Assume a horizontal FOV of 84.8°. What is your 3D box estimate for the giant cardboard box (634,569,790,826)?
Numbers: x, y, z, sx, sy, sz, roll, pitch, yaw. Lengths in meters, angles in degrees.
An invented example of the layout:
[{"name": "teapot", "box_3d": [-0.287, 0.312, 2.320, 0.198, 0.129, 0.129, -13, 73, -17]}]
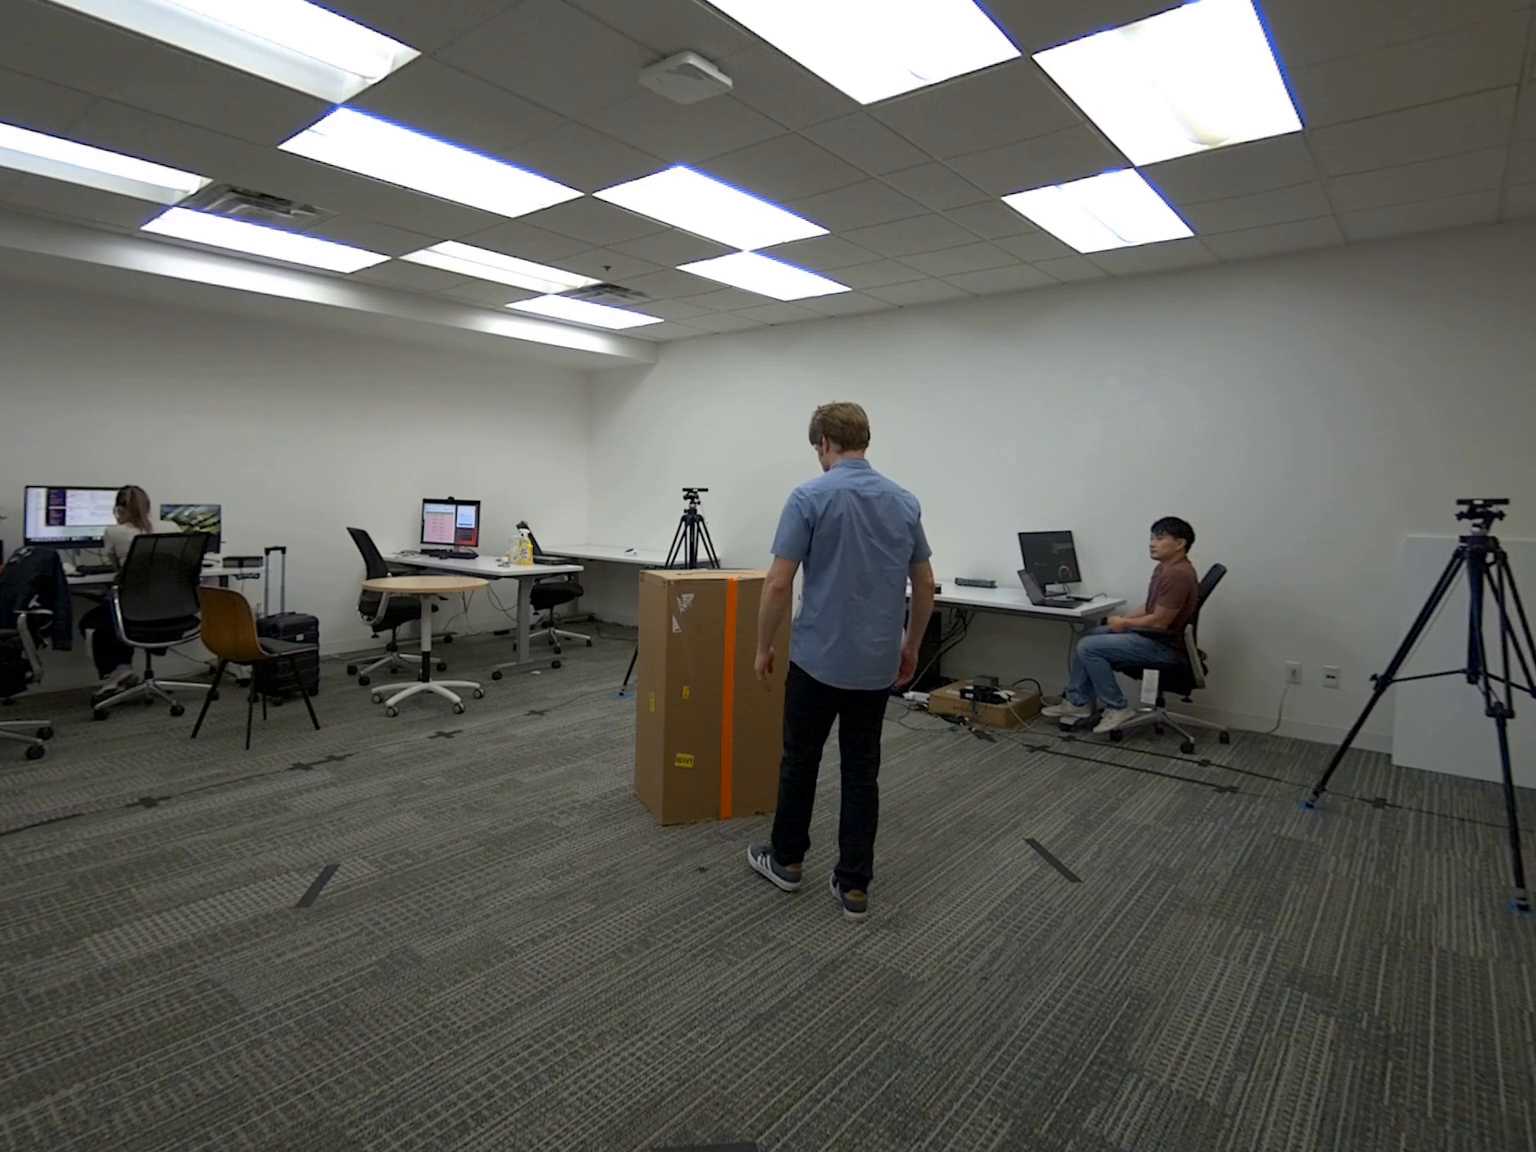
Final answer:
[{"name": "giant cardboard box", "box_3d": [-0.264, 0.499, 3.772, 0.571, 1.025, 0.458, 0, 2, -24]}]
